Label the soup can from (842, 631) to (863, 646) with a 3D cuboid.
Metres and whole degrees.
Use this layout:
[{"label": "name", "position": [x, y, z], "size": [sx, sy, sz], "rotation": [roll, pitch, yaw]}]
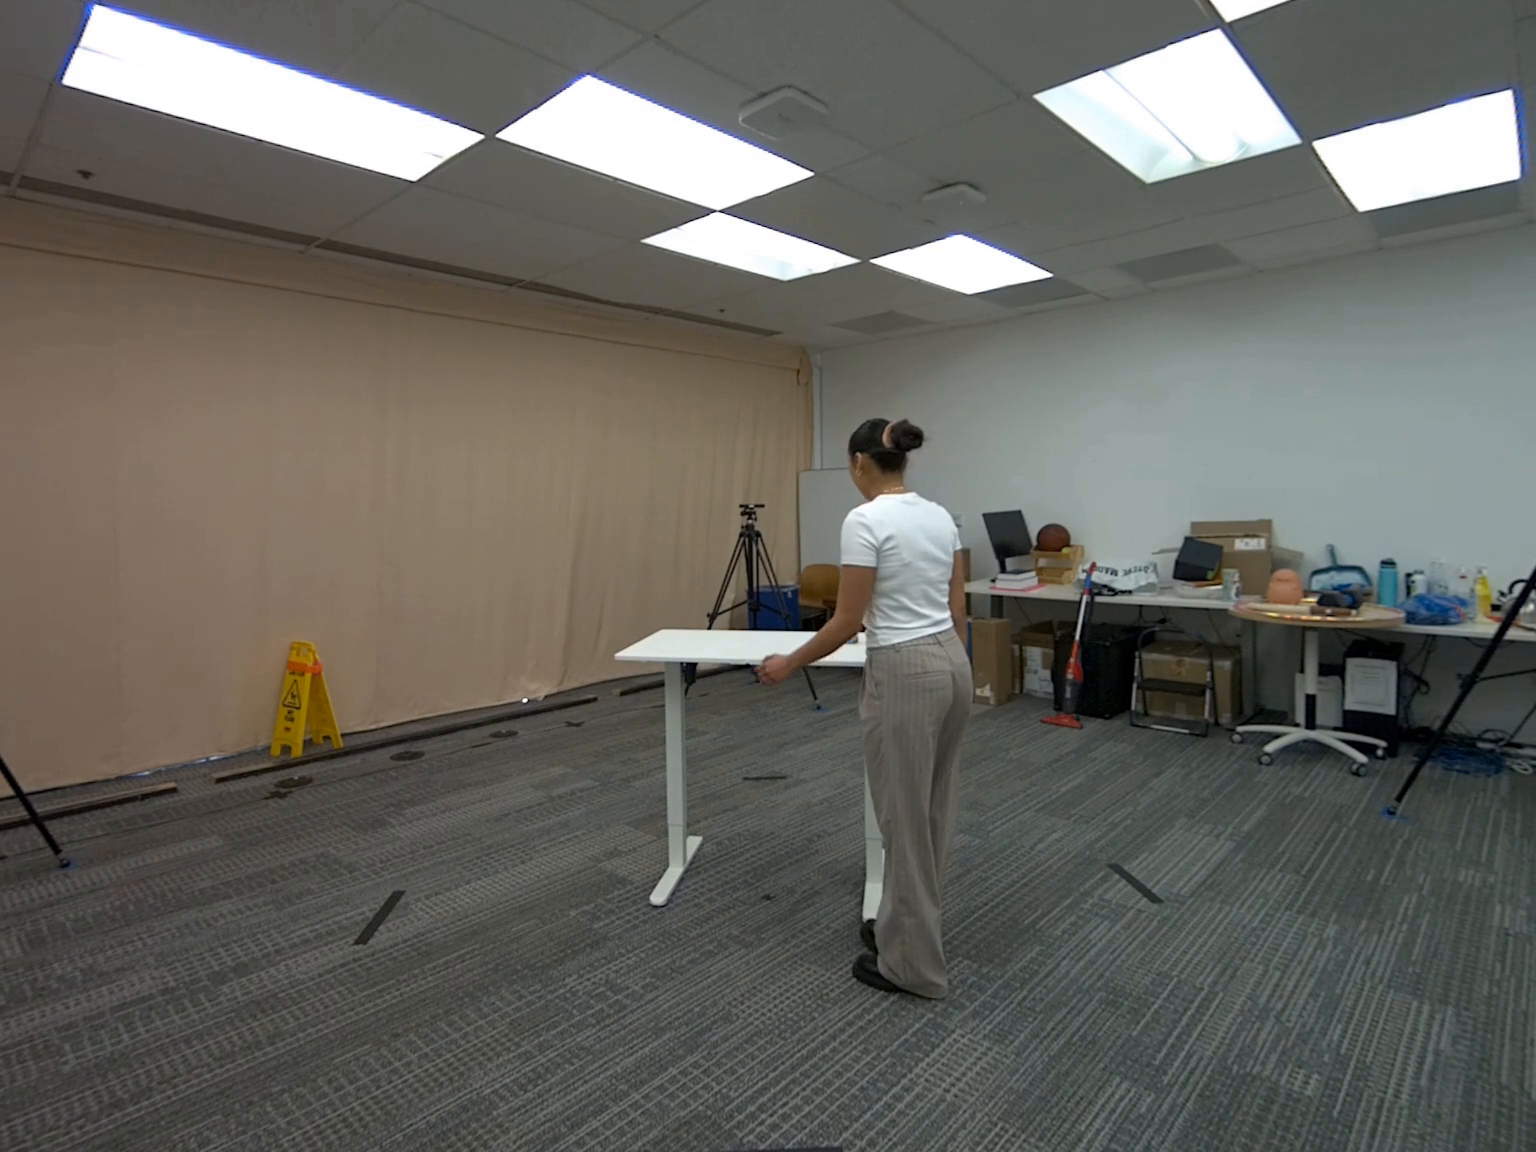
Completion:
[{"label": "soup can", "position": [0.305, 0.189, 3.076], "size": [0.067, 0.121, 0.067], "rotation": [-3, 3, -2]}]
